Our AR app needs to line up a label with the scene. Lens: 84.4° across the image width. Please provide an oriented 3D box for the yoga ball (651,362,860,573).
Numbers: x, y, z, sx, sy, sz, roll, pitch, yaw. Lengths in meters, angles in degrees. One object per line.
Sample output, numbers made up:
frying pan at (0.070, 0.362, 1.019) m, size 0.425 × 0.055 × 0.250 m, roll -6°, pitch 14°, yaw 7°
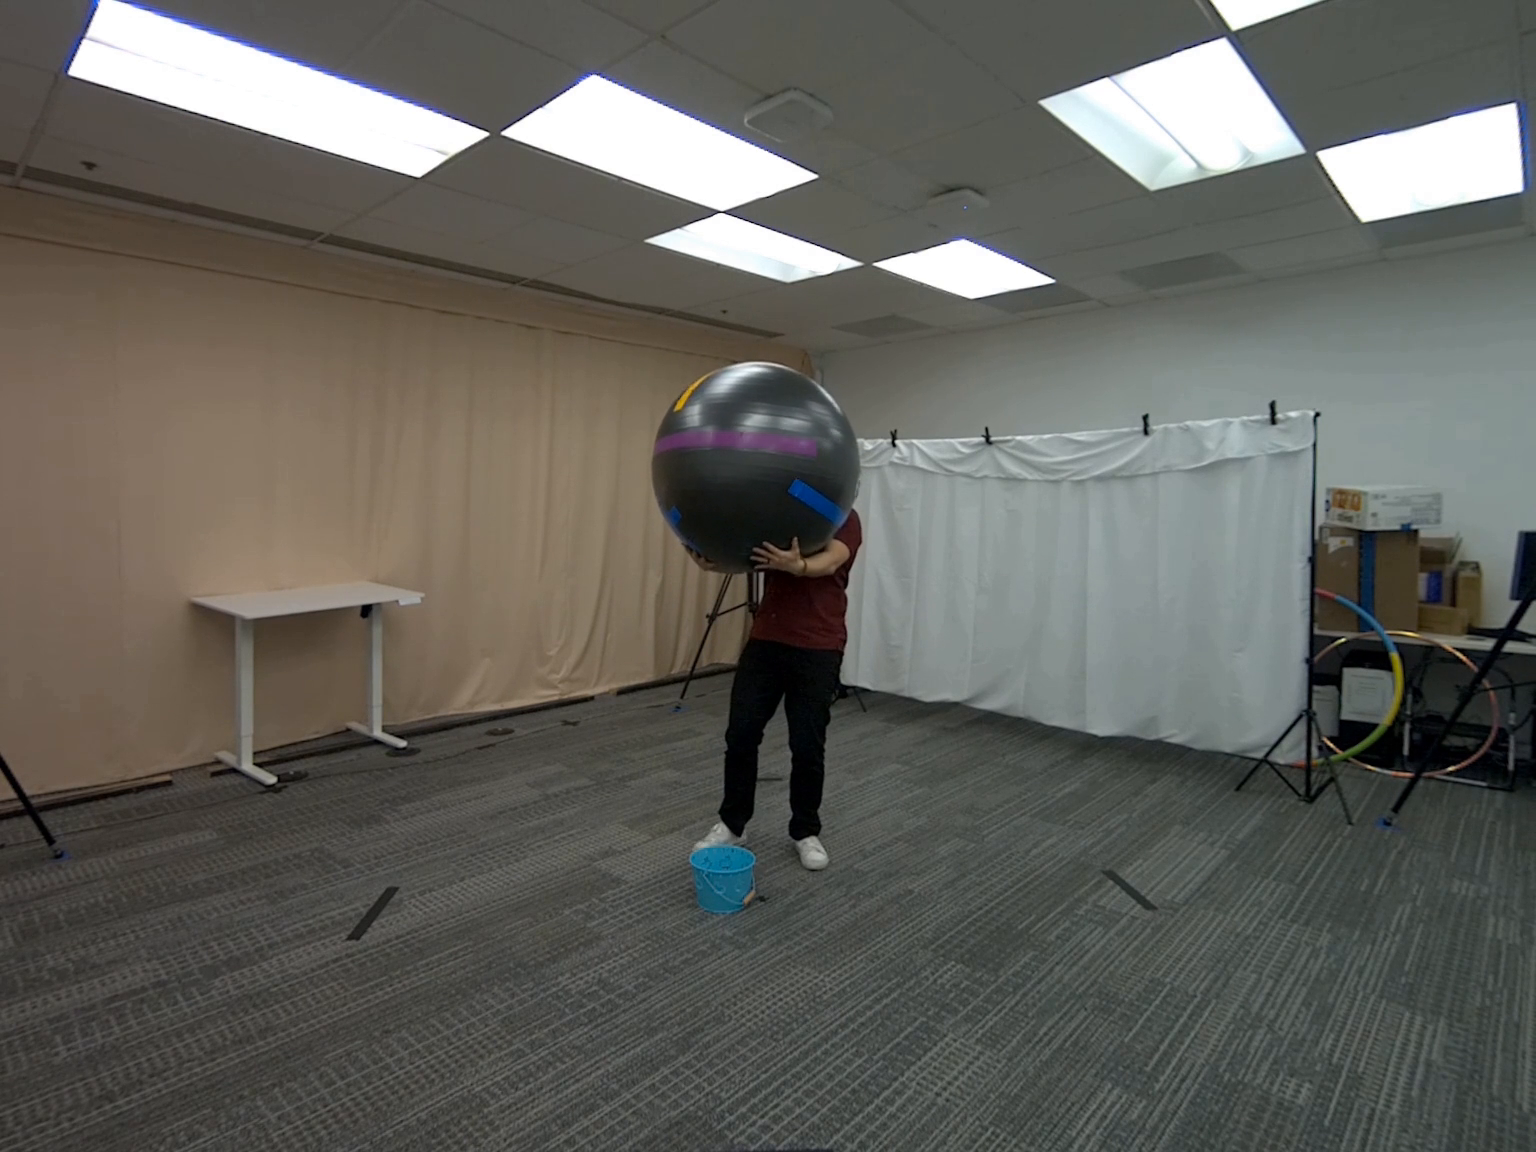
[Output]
yoga ball at (-0.053, -0.388, 3.089) m, size 0.757 × 0.756 × 0.760 m, roll 0°, pitch 4°, yaw -2°
